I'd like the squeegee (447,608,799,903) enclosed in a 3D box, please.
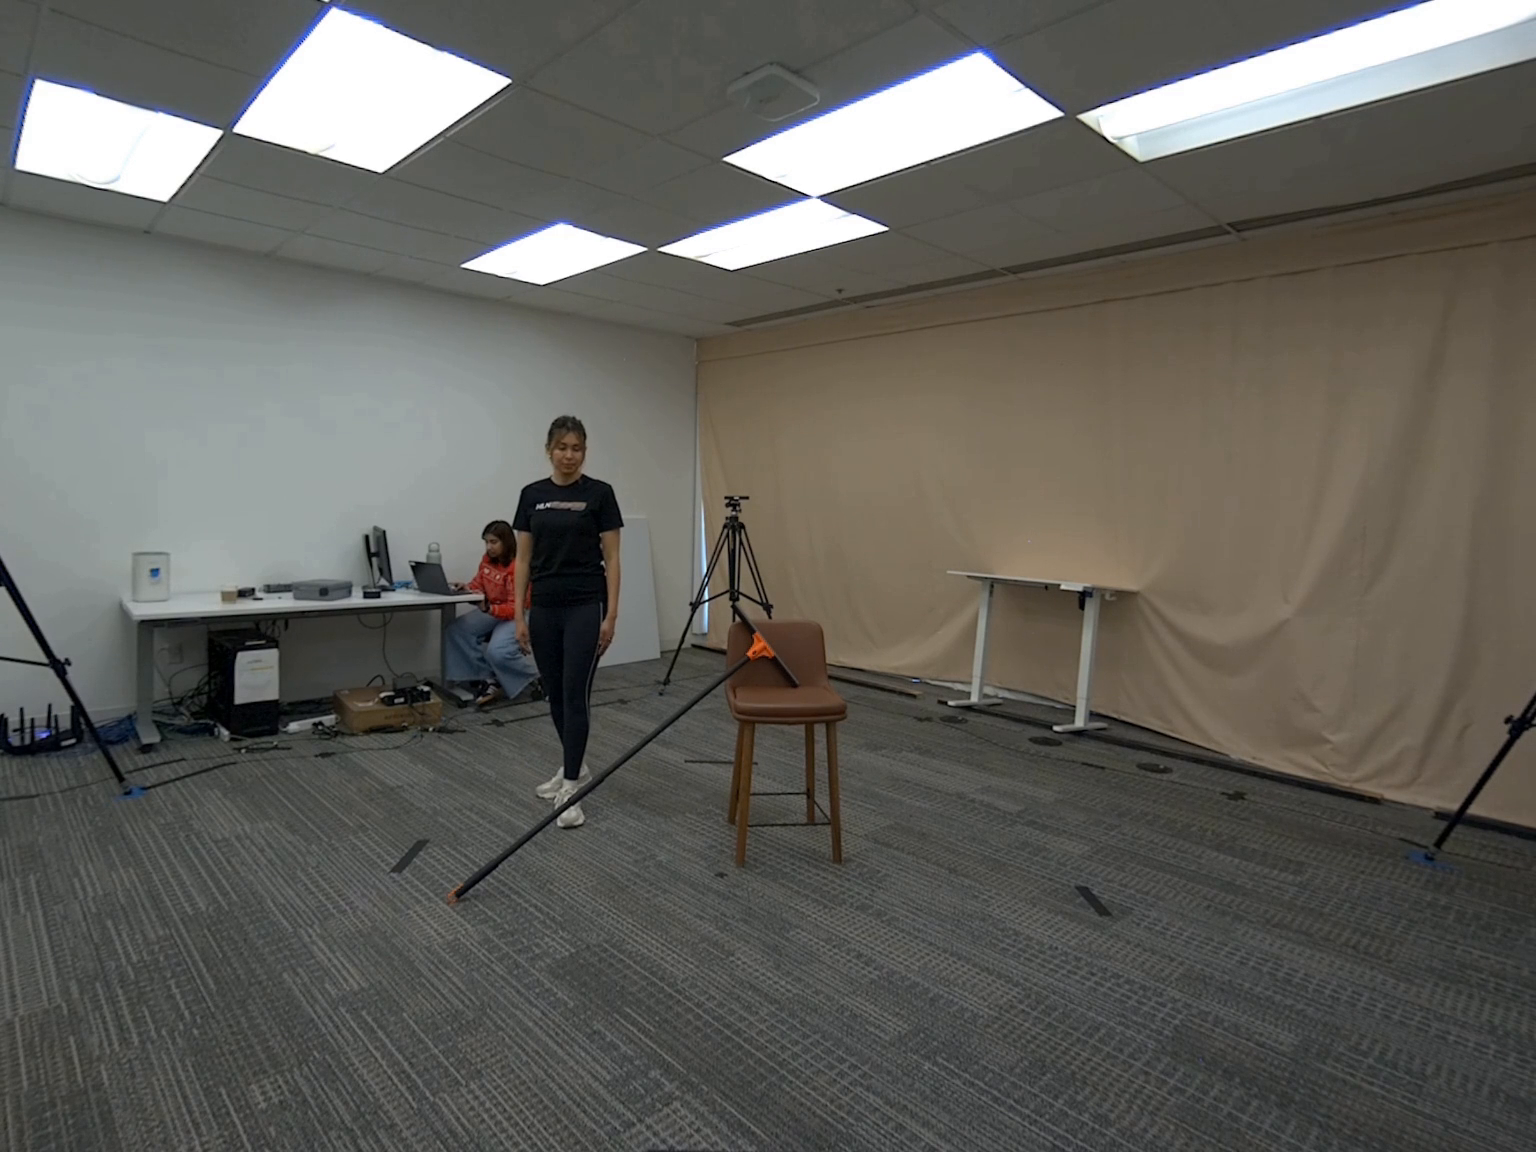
[{"bbox_3d":[-0.524,0.675,3.178,1.529,0.438,0.053,-37,0,-28],"label":"squeegee"}]
